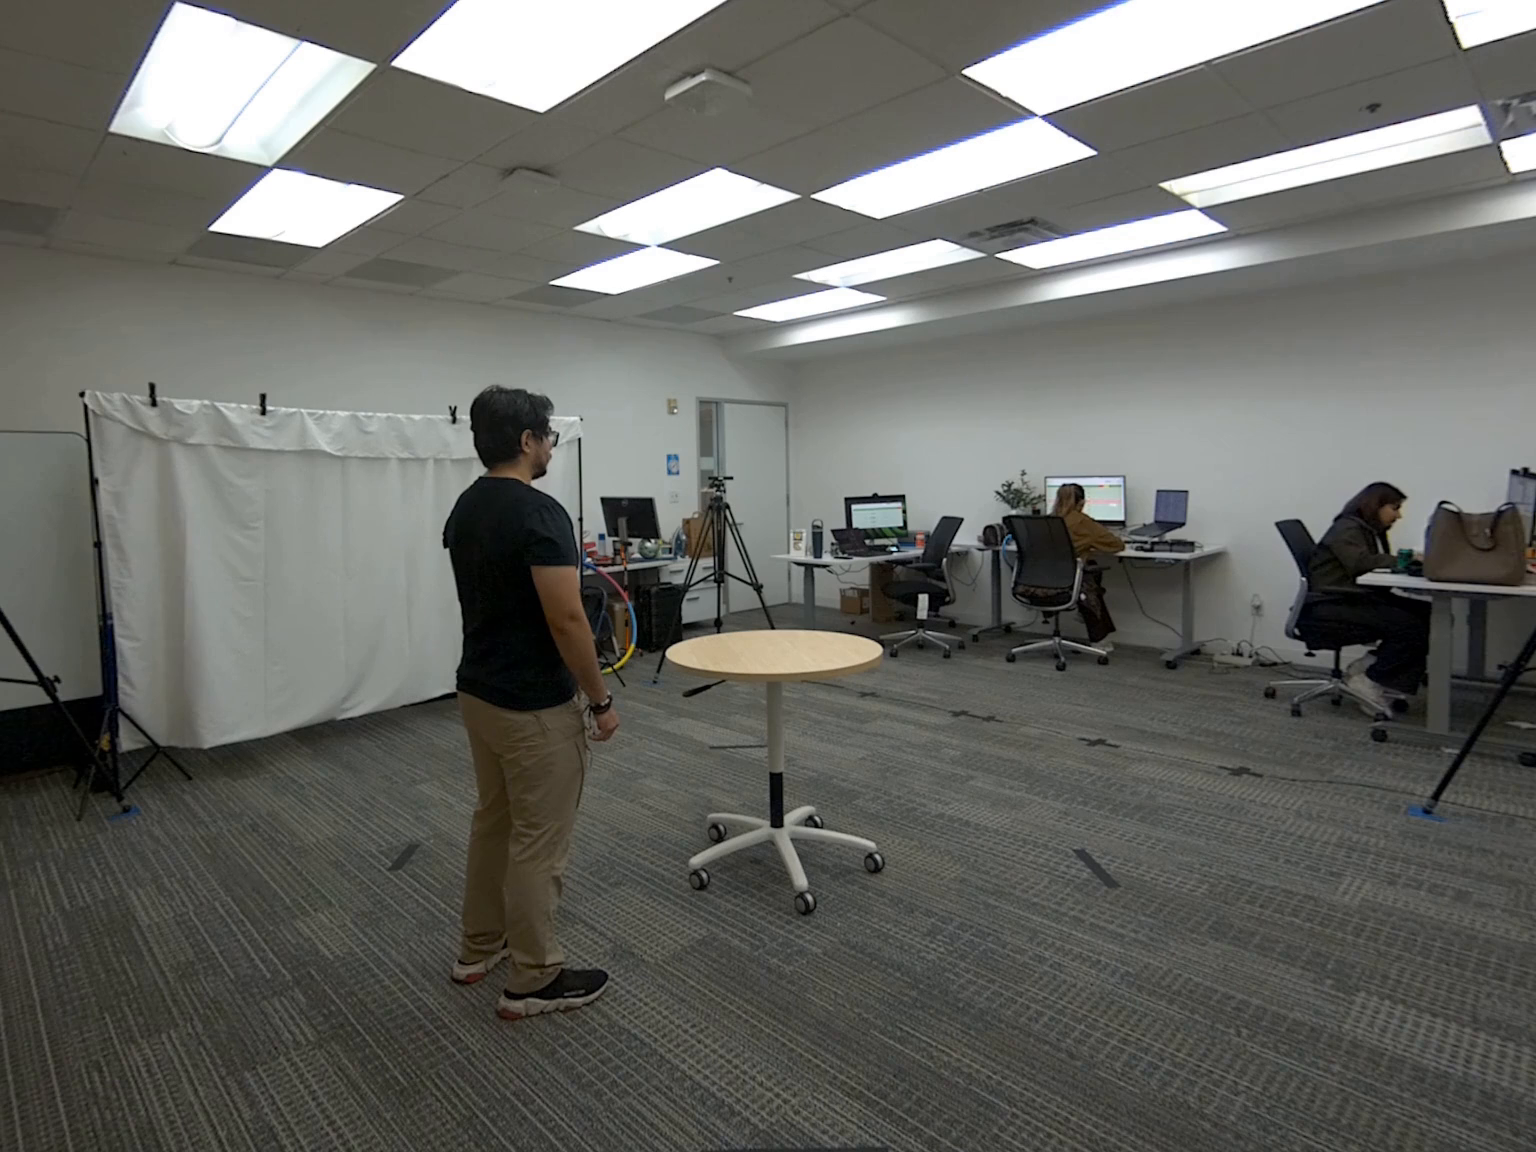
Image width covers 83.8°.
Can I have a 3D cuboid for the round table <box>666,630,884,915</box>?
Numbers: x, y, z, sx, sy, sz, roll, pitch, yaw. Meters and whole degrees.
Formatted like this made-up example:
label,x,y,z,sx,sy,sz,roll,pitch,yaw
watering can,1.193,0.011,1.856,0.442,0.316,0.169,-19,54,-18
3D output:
label,x,y,z,sx,sy,sz,roll,pitch,yaw
round table,0.025,0.646,3.069,0.784,0.783,0.789,-1,5,-2
